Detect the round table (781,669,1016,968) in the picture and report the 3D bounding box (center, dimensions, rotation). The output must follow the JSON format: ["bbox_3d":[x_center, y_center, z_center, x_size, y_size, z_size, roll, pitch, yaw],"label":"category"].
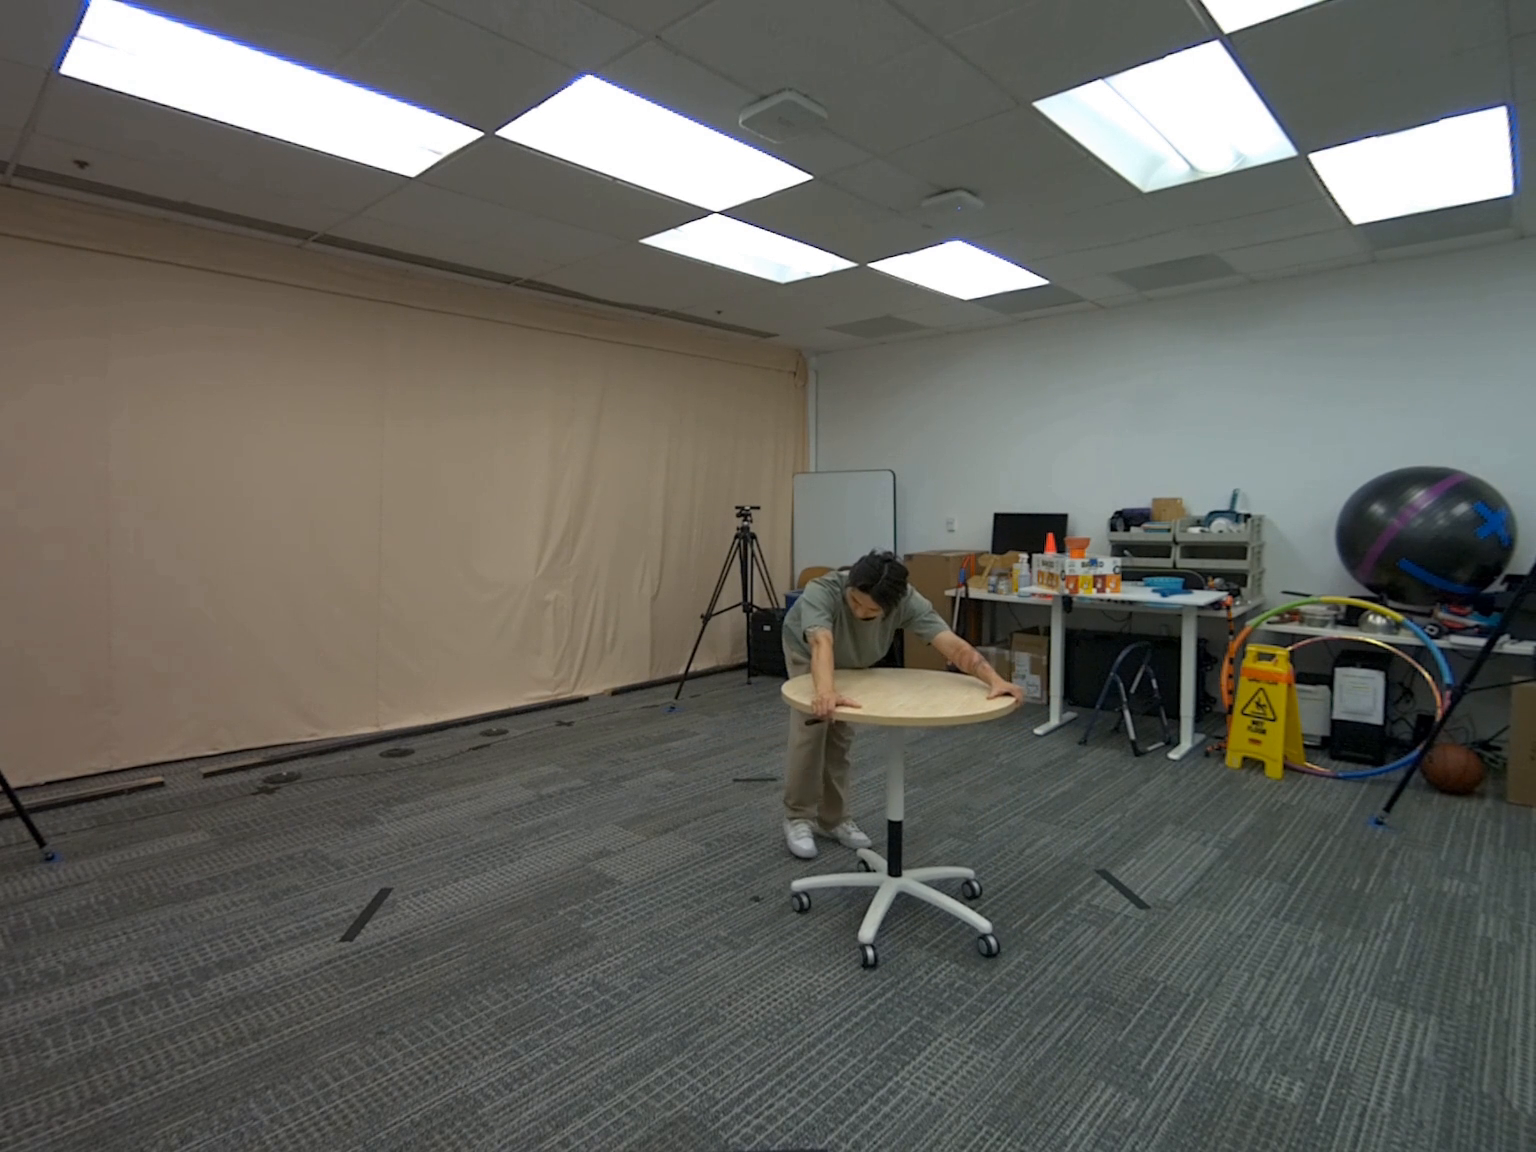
[{"bbox_3d":[0.455,0.767,2.838,0.784,0.785,0.788,-1,4,-2],"label":"round table"}]
